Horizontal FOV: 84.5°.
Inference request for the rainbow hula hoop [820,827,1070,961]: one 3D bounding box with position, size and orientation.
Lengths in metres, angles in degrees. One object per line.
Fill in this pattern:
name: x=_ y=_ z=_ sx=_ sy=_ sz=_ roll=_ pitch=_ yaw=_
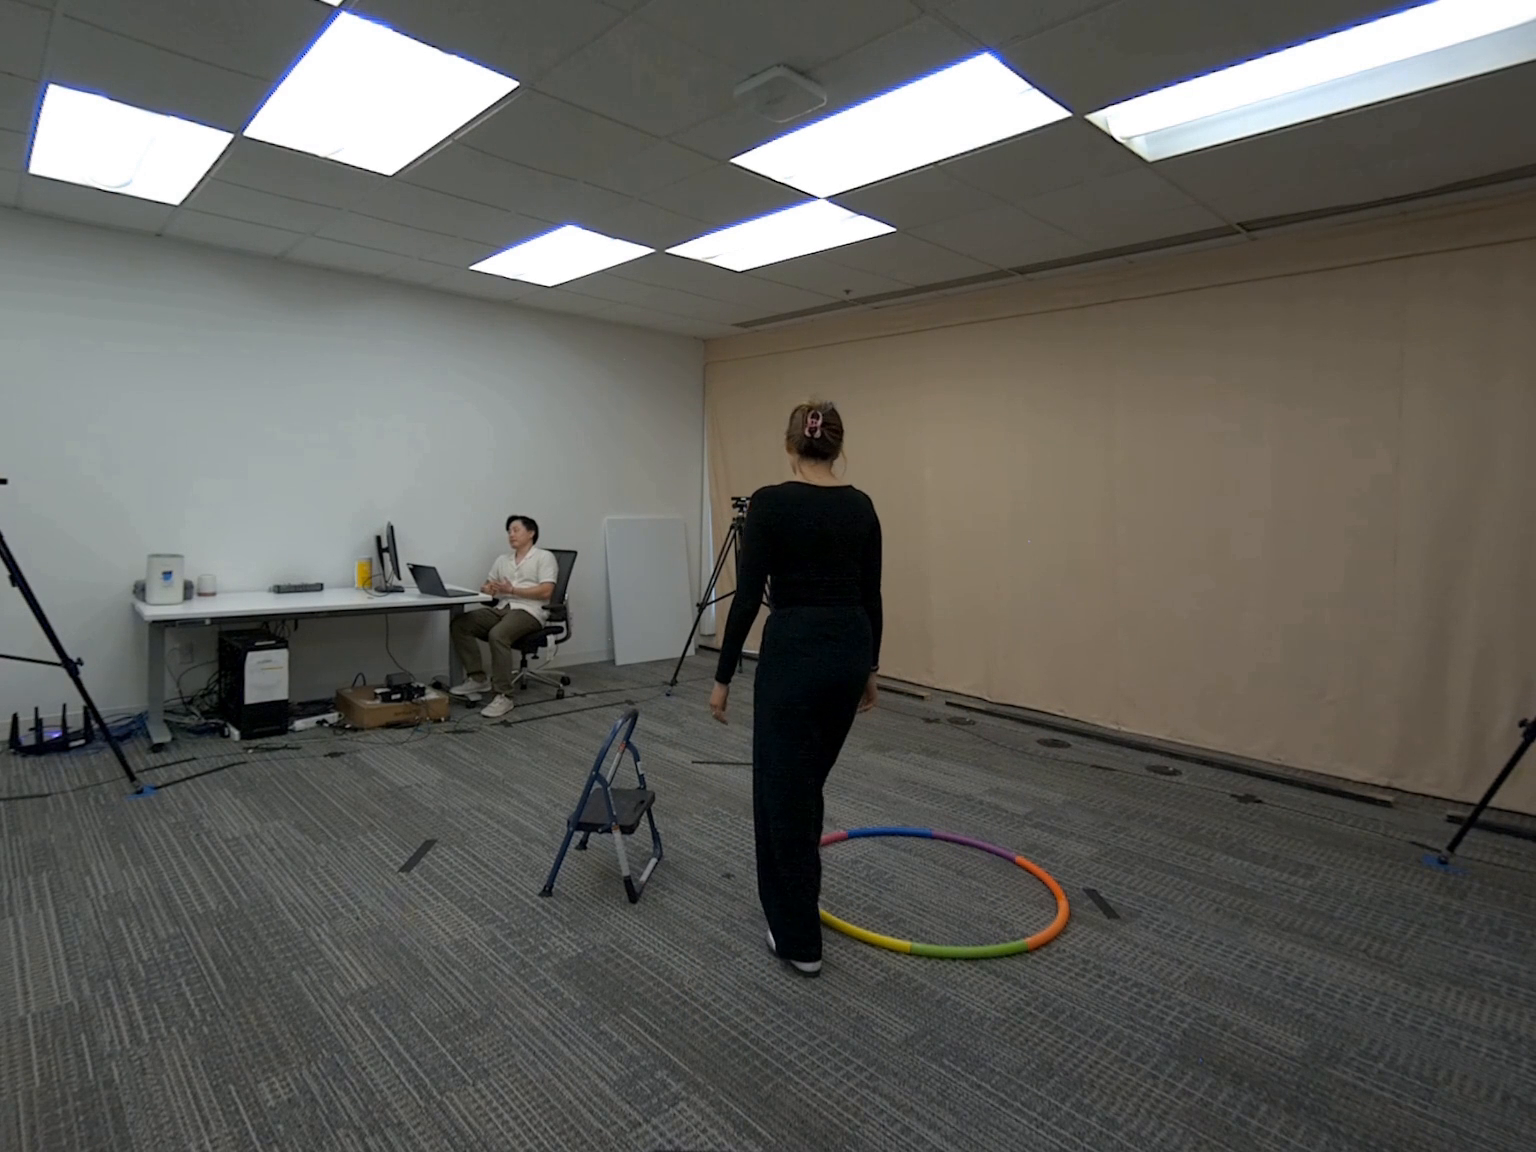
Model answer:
rainbow hula hoop: x=0.543 y=1.094 z=3.055 sx=0.978 sy=0.035 sz=0.982 roll=2 pitch=5 yaw=-1
